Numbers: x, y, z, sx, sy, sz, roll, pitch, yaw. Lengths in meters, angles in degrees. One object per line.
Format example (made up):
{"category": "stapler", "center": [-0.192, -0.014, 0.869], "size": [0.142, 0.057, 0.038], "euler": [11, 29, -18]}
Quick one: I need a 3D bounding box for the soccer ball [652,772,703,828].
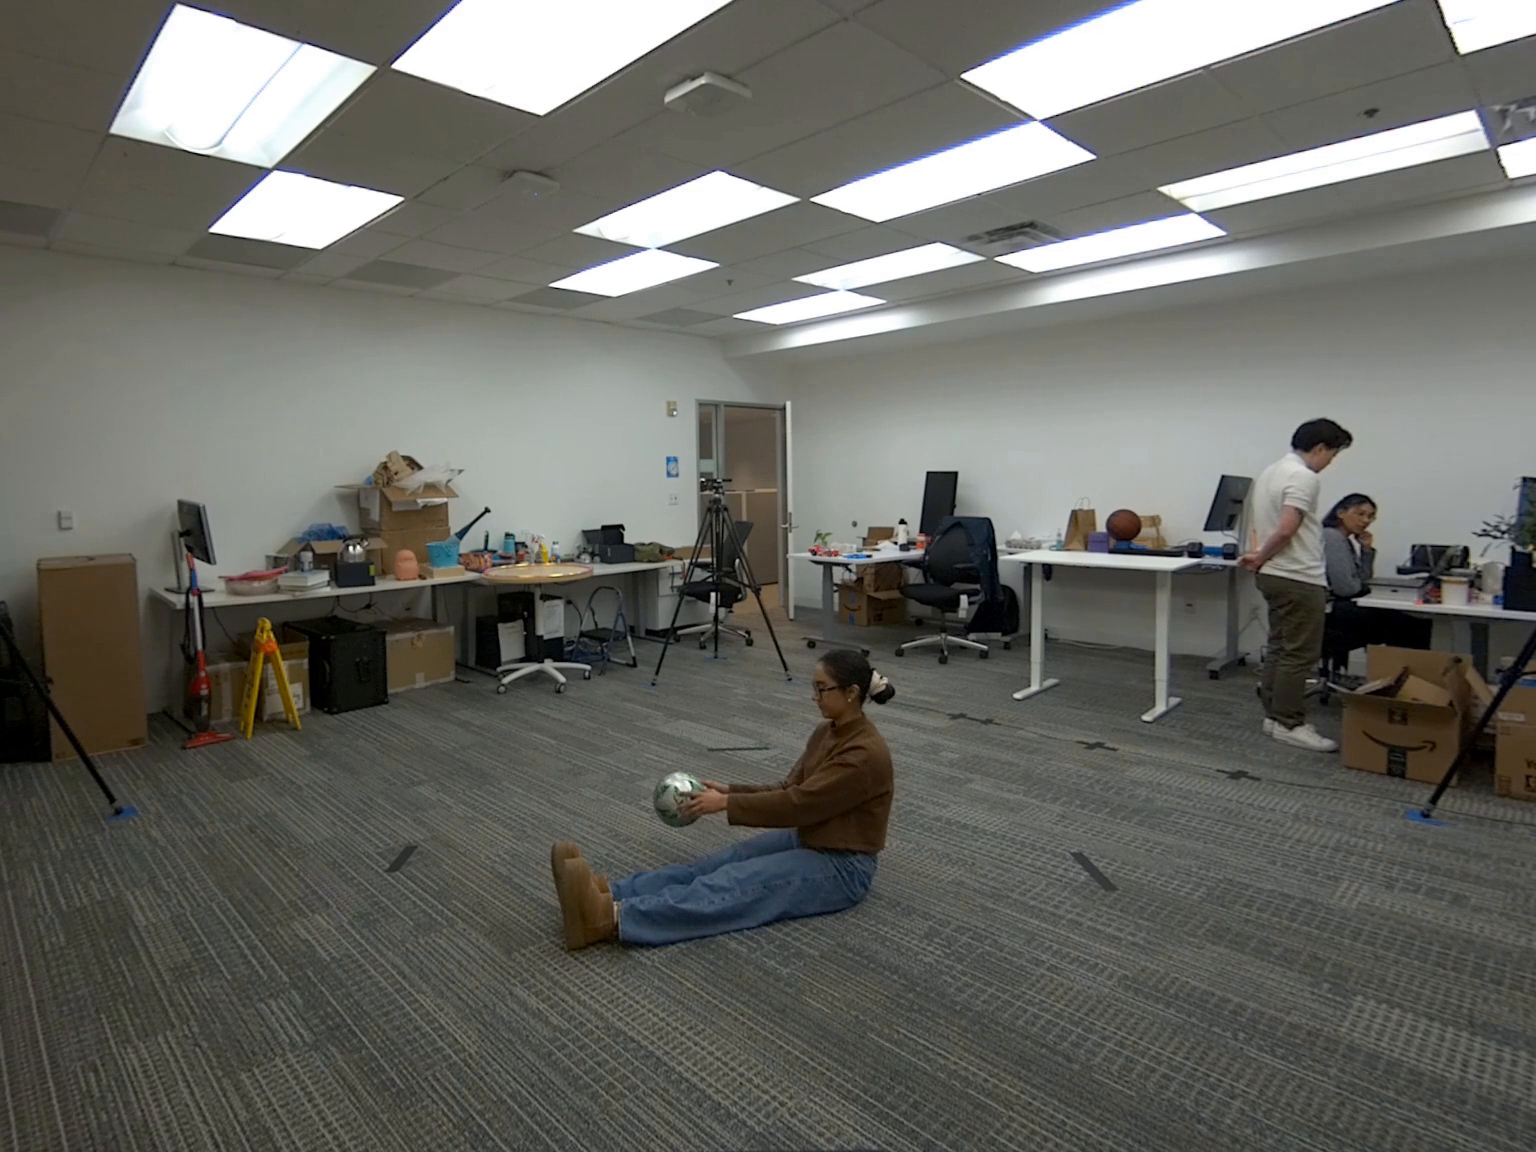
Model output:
{"category": "soccer ball", "center": [-0.294, 0.782, 2.990], "size": [0.187, 0.187, 0.188], "euler": [-1, 5, -2]}
